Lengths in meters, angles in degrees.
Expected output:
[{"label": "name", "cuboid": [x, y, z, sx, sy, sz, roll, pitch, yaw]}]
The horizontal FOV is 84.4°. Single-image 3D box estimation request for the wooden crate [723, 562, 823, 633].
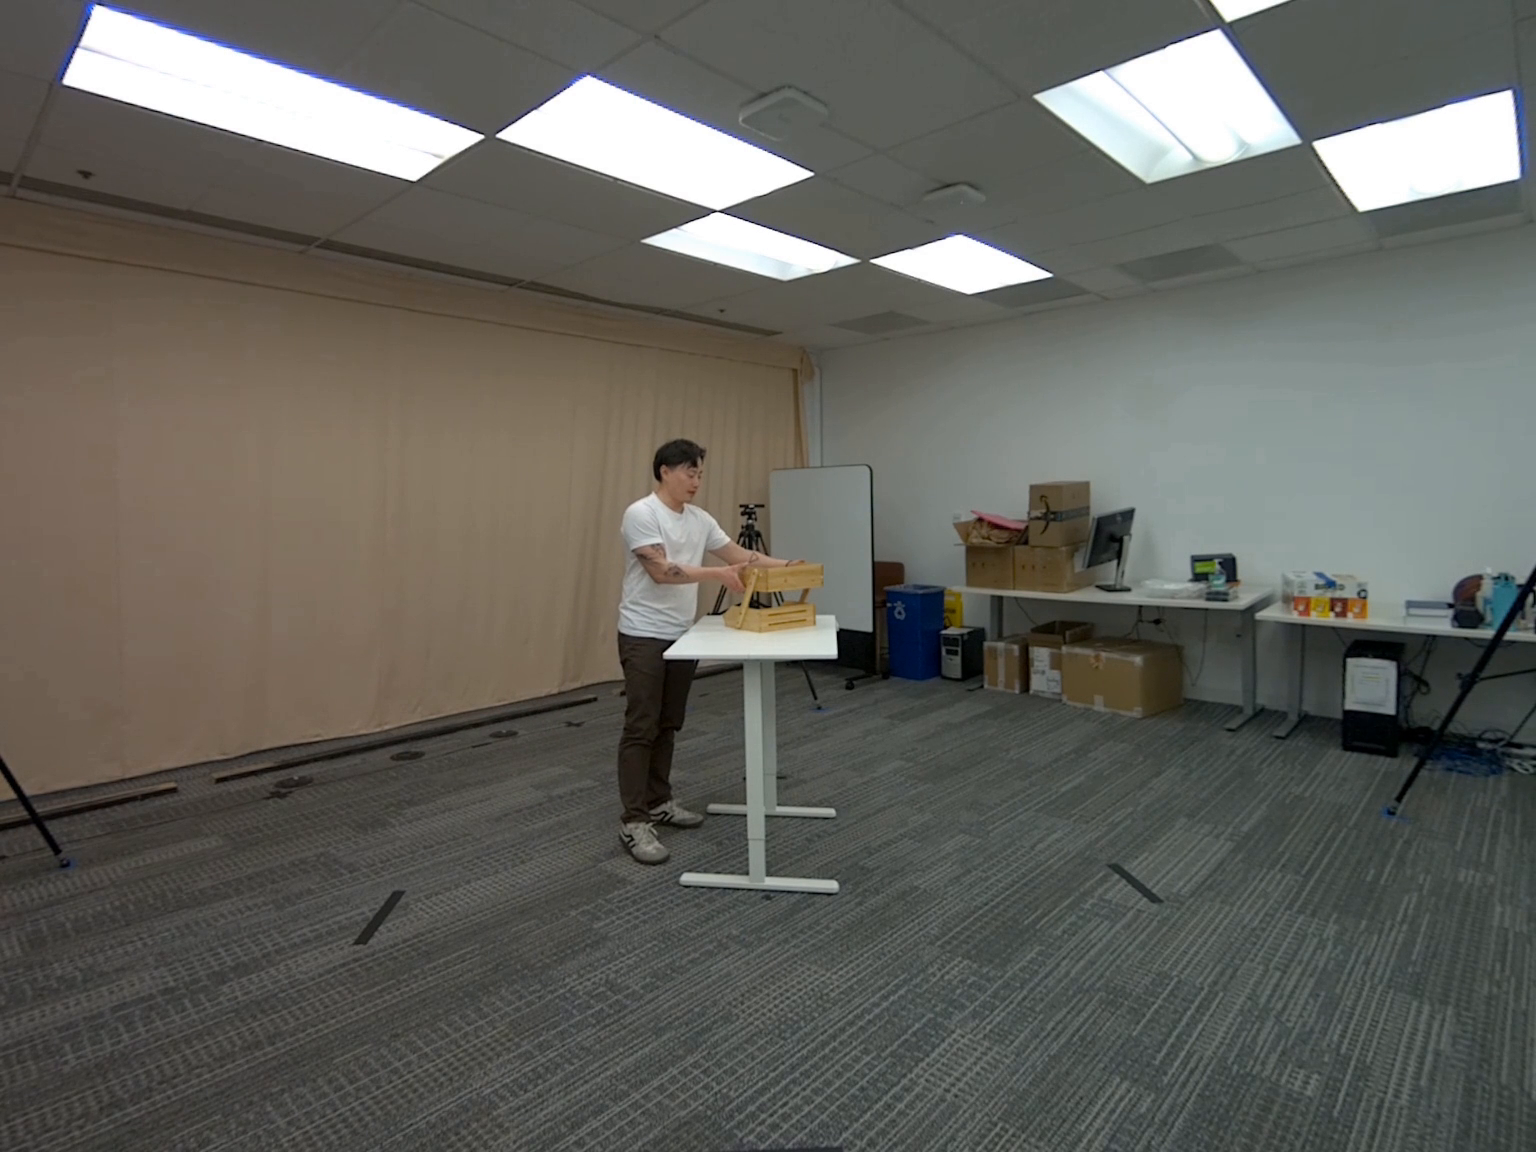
[{"label": "wooden crate", "cuboid": [0.019, 0.079, 3.517, 0.315, 0.272, 0.311, -4, 6, -35]}]
